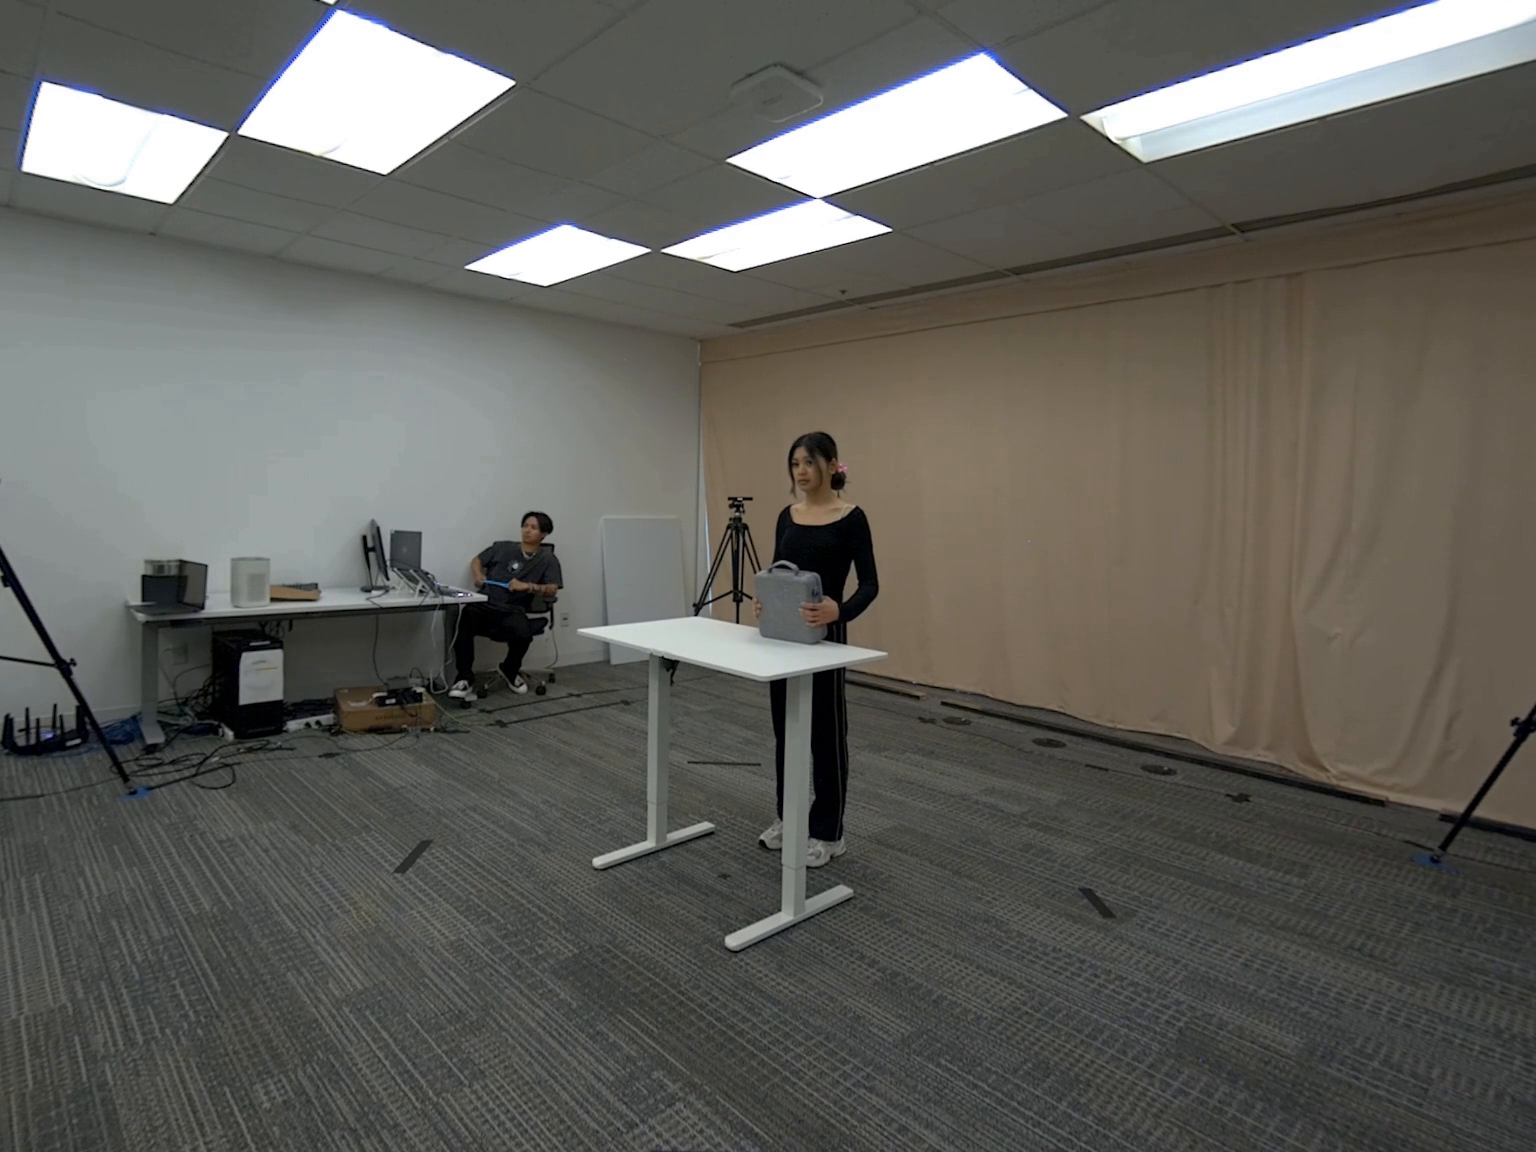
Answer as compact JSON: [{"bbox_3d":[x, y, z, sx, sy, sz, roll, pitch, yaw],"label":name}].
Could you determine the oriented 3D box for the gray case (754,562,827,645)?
[{"bbox_3d":[0.067,0.106,3.036,0.263,0.258,0.103,5,18,41],"label":"gray case"}]
